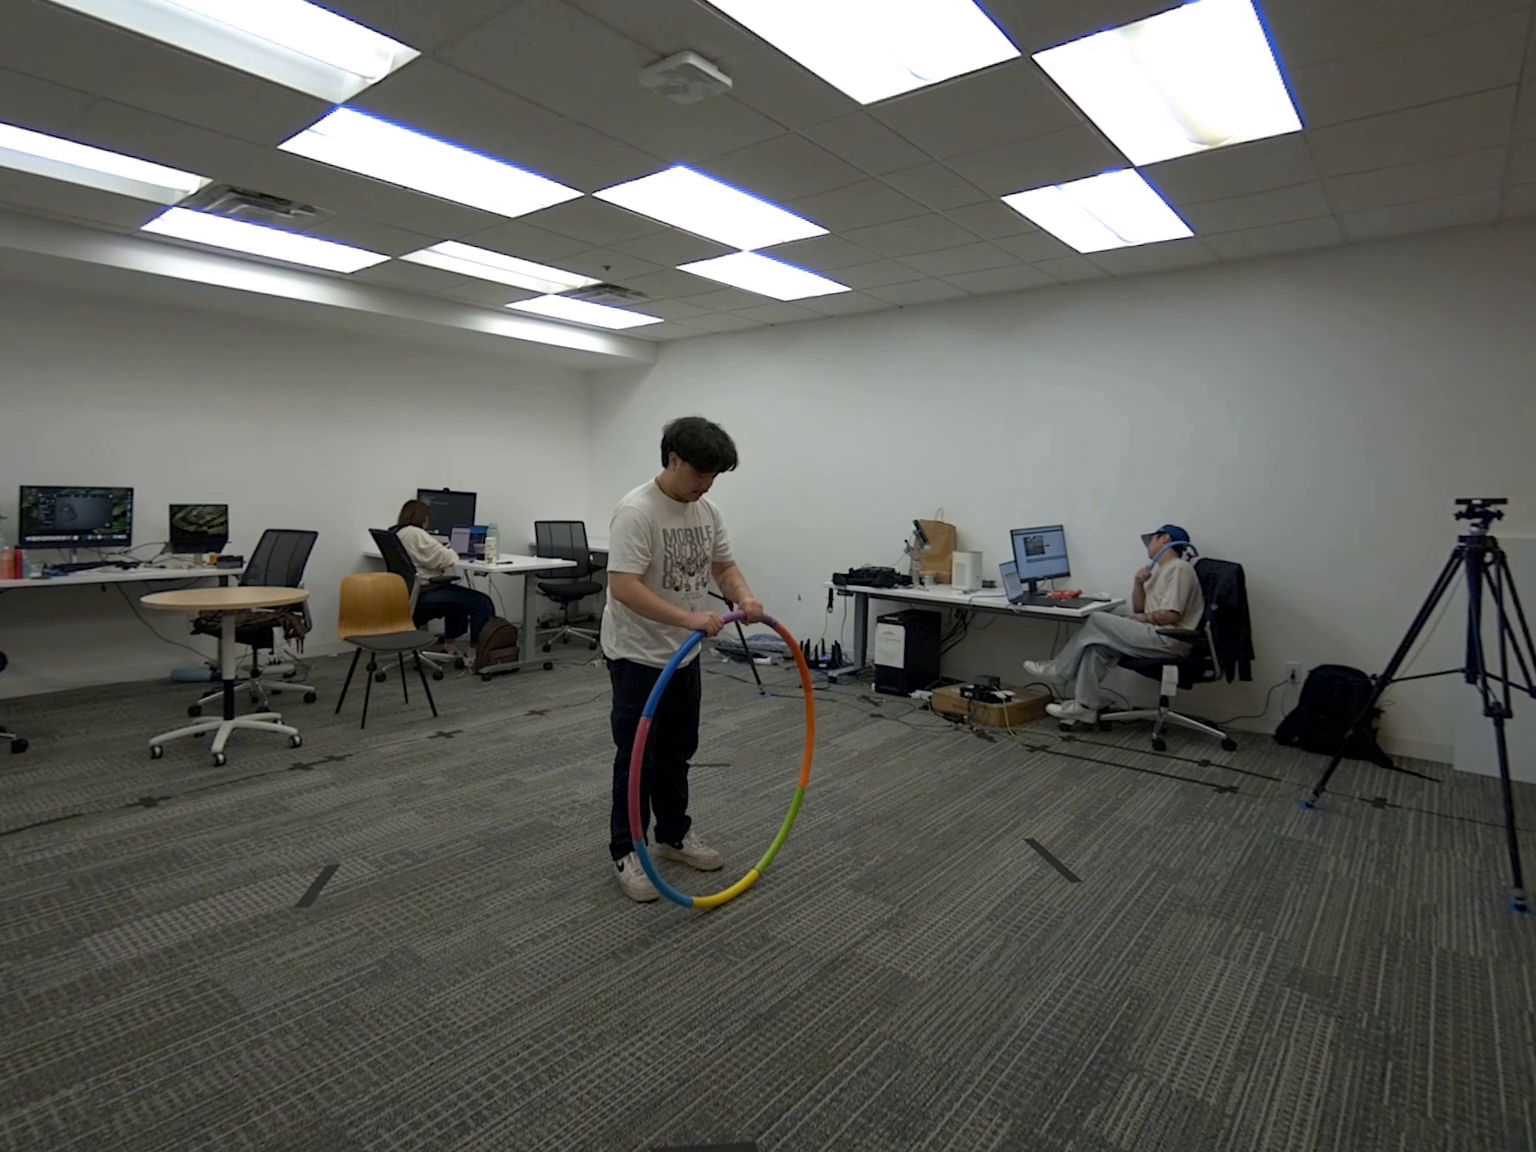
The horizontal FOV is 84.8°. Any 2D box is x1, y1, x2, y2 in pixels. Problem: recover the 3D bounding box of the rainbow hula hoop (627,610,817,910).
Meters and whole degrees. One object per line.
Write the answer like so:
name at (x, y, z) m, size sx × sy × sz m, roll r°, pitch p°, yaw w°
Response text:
rainbow hula hoop at (-0.127, 0.603, 2.870) m, size 0.053 × 0.983 × 0.957 m, roll 2°, pitch 4°, yaw 37°
